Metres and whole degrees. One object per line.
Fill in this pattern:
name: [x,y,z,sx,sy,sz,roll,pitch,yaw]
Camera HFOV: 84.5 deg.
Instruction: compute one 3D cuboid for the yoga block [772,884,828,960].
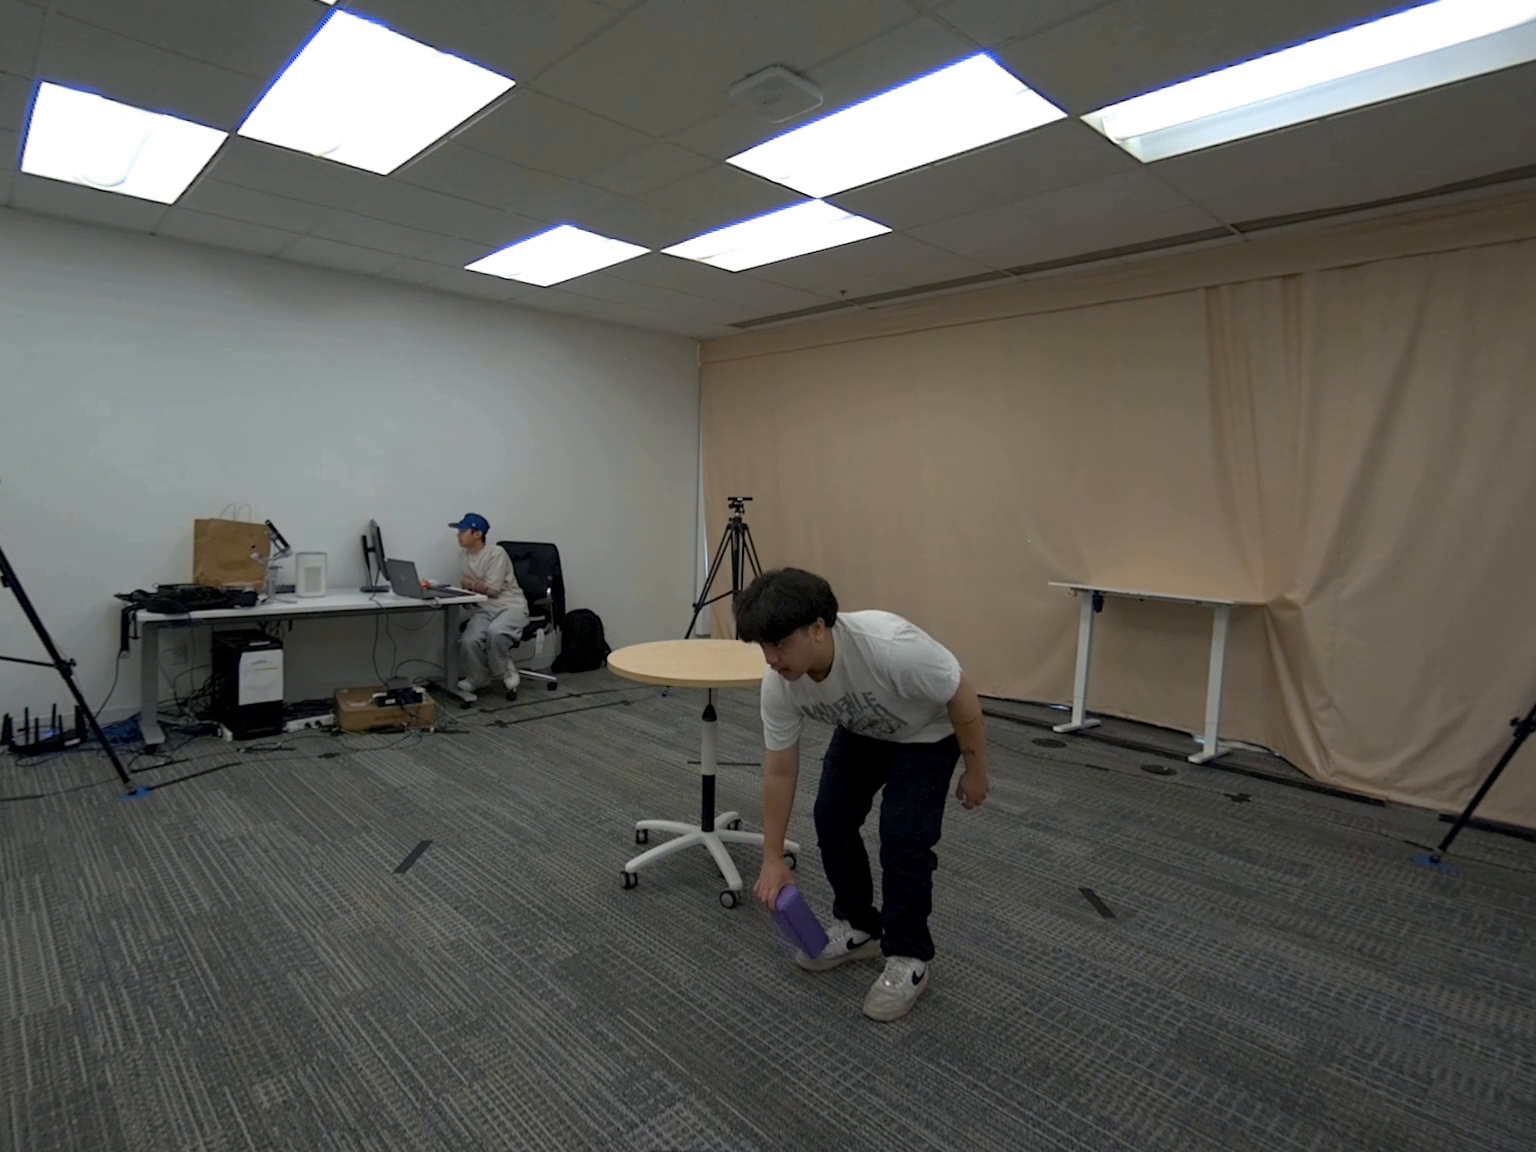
yoga block: [0.068,0.976,2.428,0.076,0.224,0.153,-38,25,-24]
